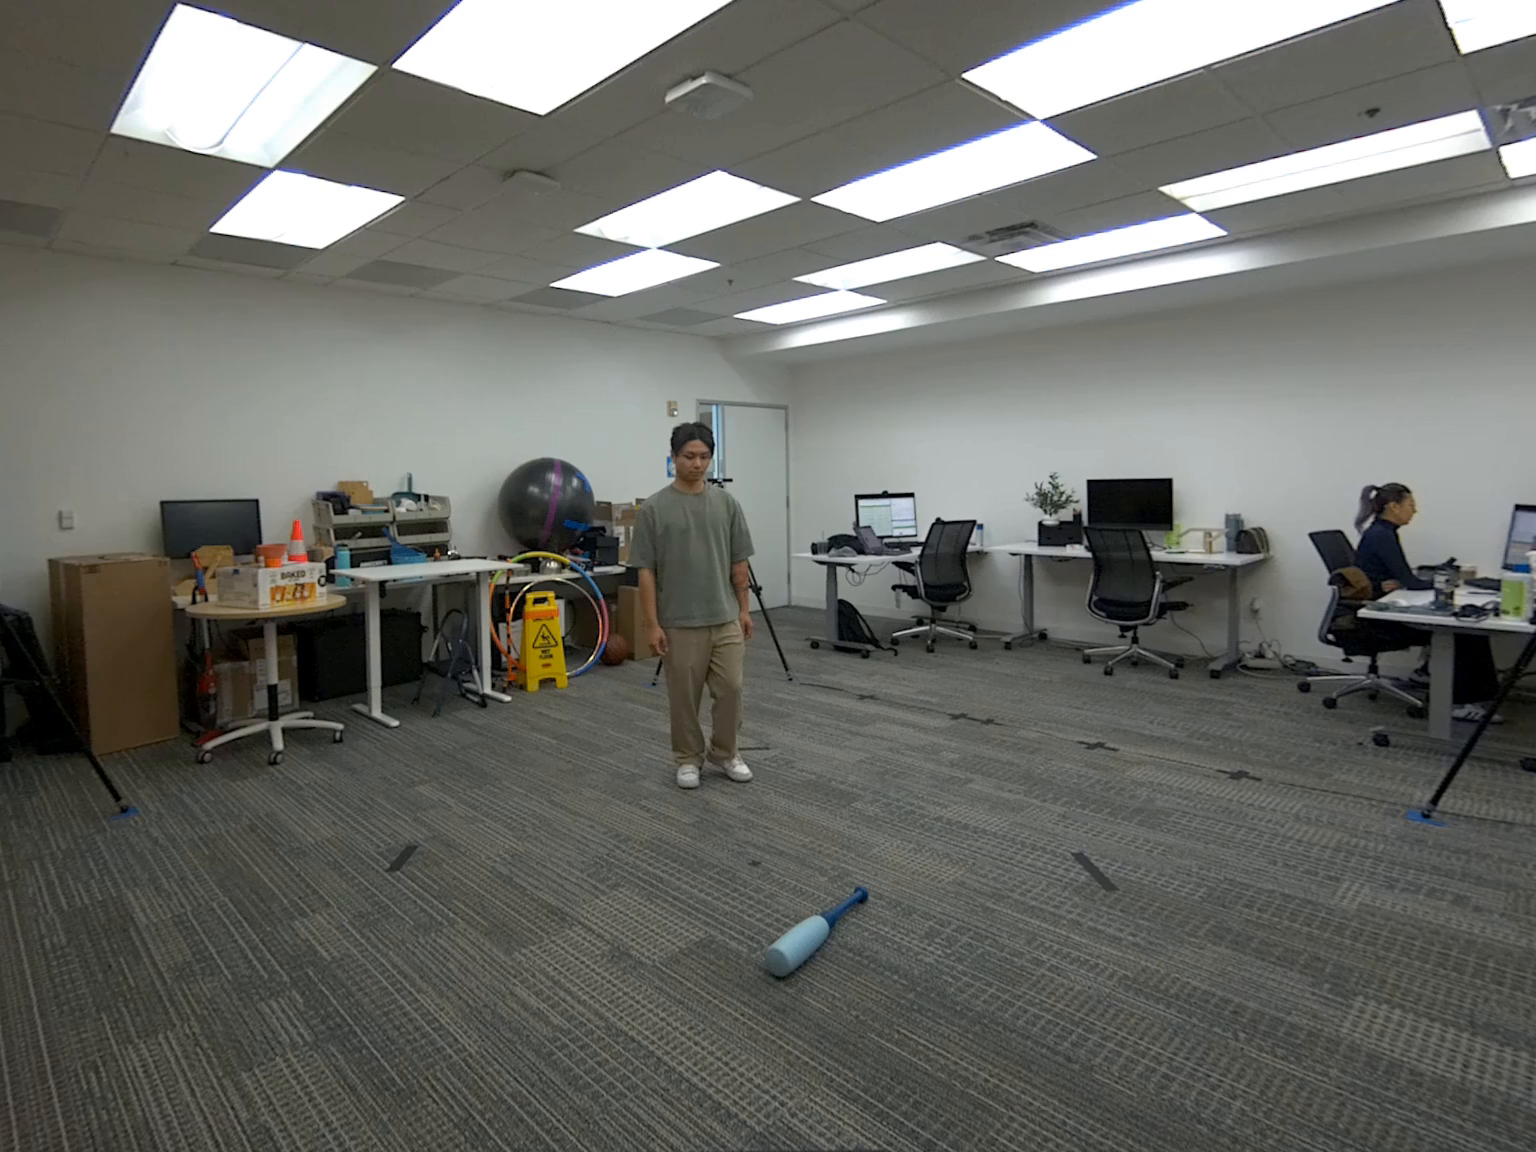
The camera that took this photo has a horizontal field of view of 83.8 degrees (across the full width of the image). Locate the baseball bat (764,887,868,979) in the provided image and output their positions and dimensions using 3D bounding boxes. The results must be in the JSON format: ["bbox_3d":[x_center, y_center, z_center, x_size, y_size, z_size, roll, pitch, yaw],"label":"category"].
[{"bbox_3d":[0.172,1.064,2.596,0.091,0.089,0.529,2,5,33],"label":"baseball bat"}]
